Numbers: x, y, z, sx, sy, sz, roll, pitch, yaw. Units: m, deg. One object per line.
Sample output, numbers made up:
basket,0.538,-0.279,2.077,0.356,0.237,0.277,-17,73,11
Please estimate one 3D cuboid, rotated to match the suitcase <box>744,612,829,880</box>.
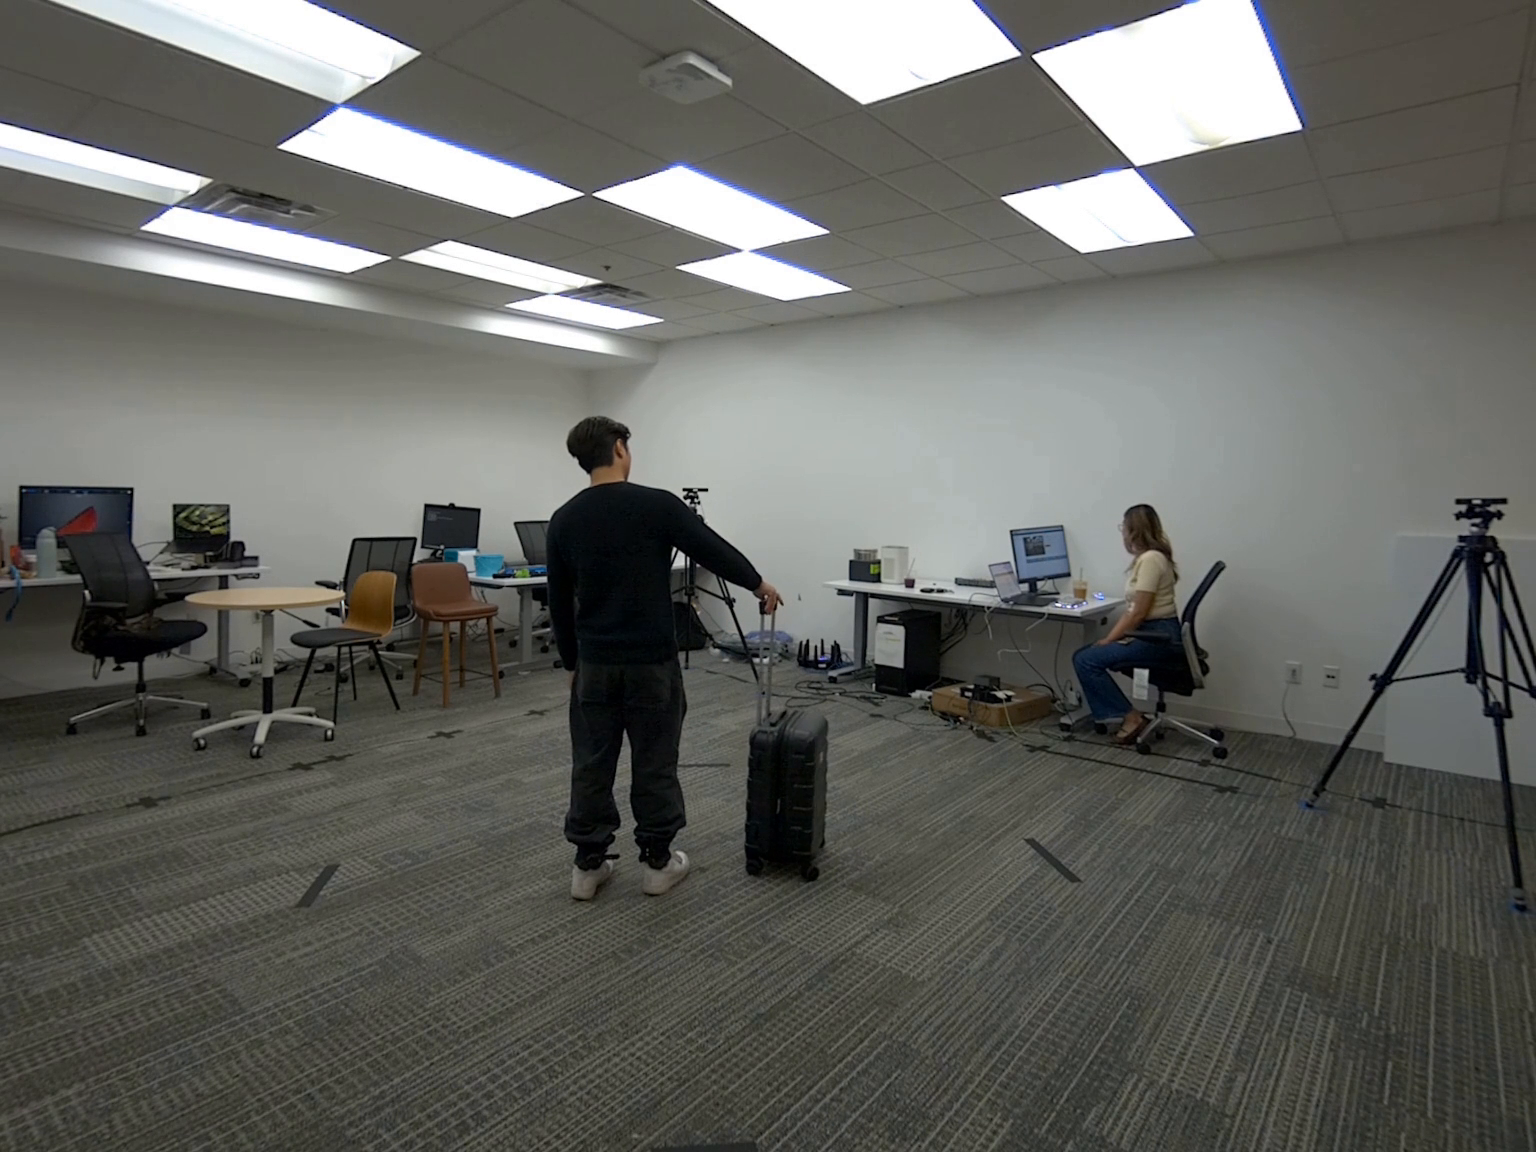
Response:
suitcase,0.084,0.595,3.185,0.260,0.975,0.380,3,4,10
